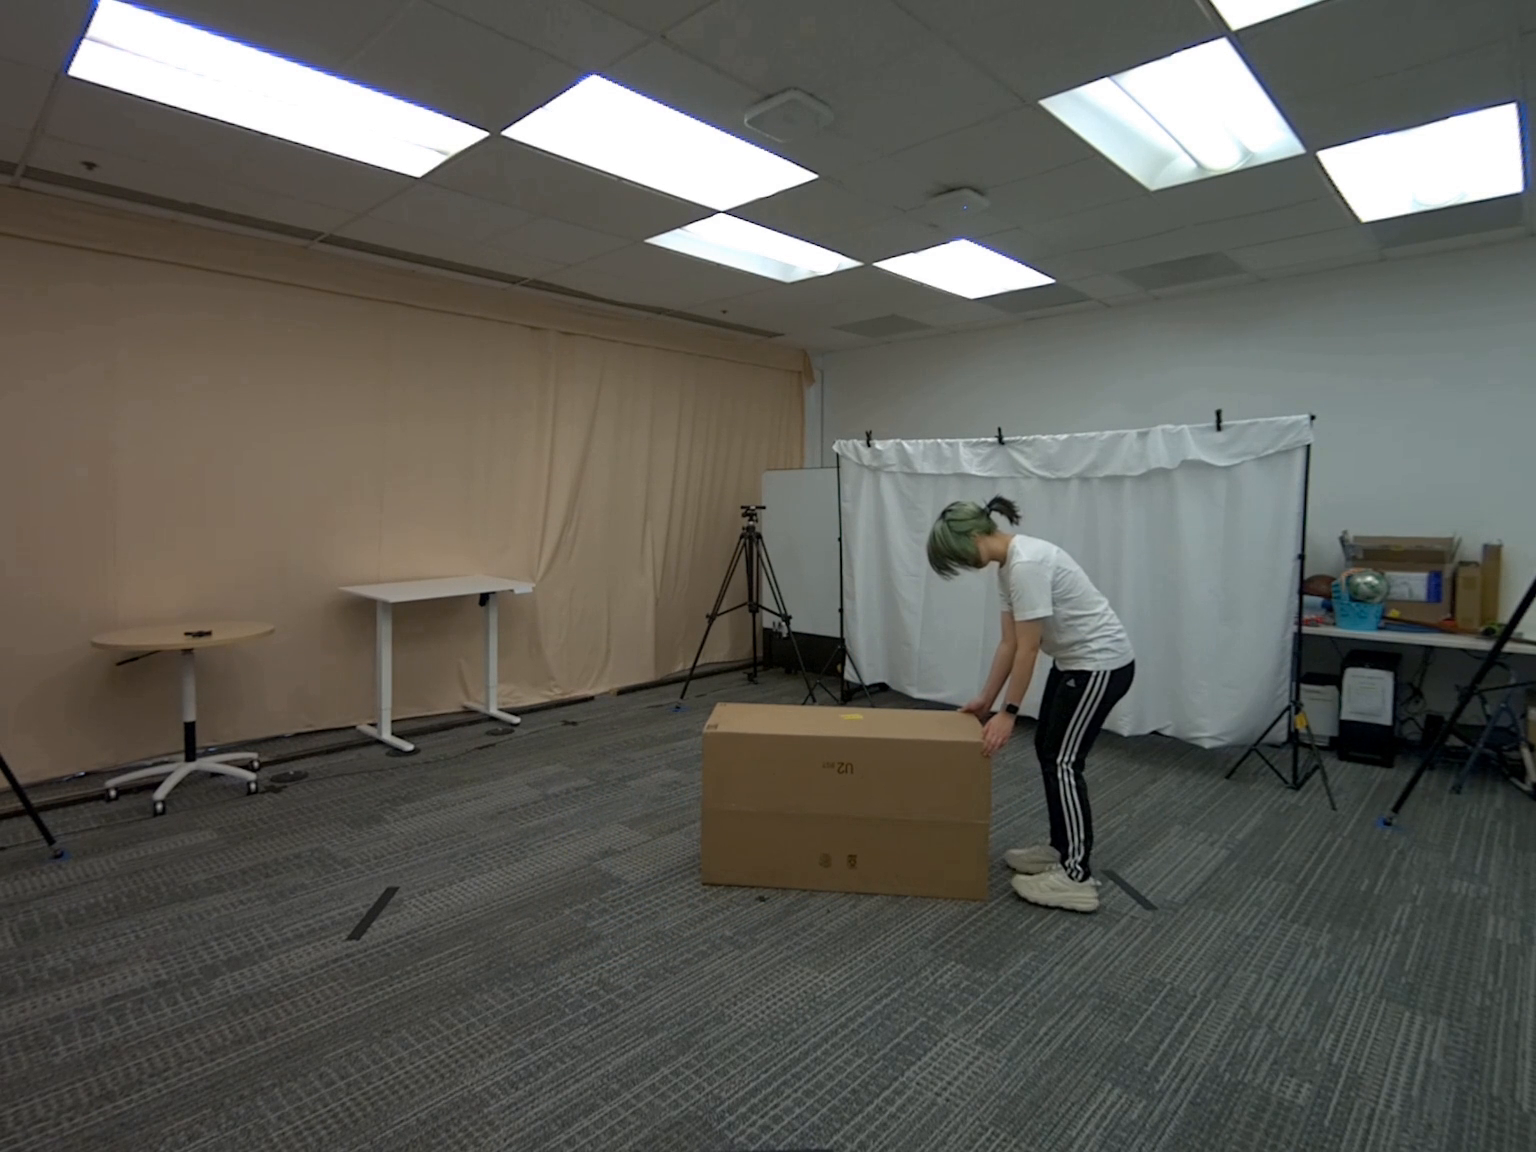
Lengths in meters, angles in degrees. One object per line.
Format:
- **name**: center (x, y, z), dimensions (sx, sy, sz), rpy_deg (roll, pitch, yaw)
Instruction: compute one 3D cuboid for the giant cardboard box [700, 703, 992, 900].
- **giant cardboard box**: center (0.286, 0.837, 3.220), dimensions (1.036, 0.583, 0.444), rpy_deg (1, 3, 7)
